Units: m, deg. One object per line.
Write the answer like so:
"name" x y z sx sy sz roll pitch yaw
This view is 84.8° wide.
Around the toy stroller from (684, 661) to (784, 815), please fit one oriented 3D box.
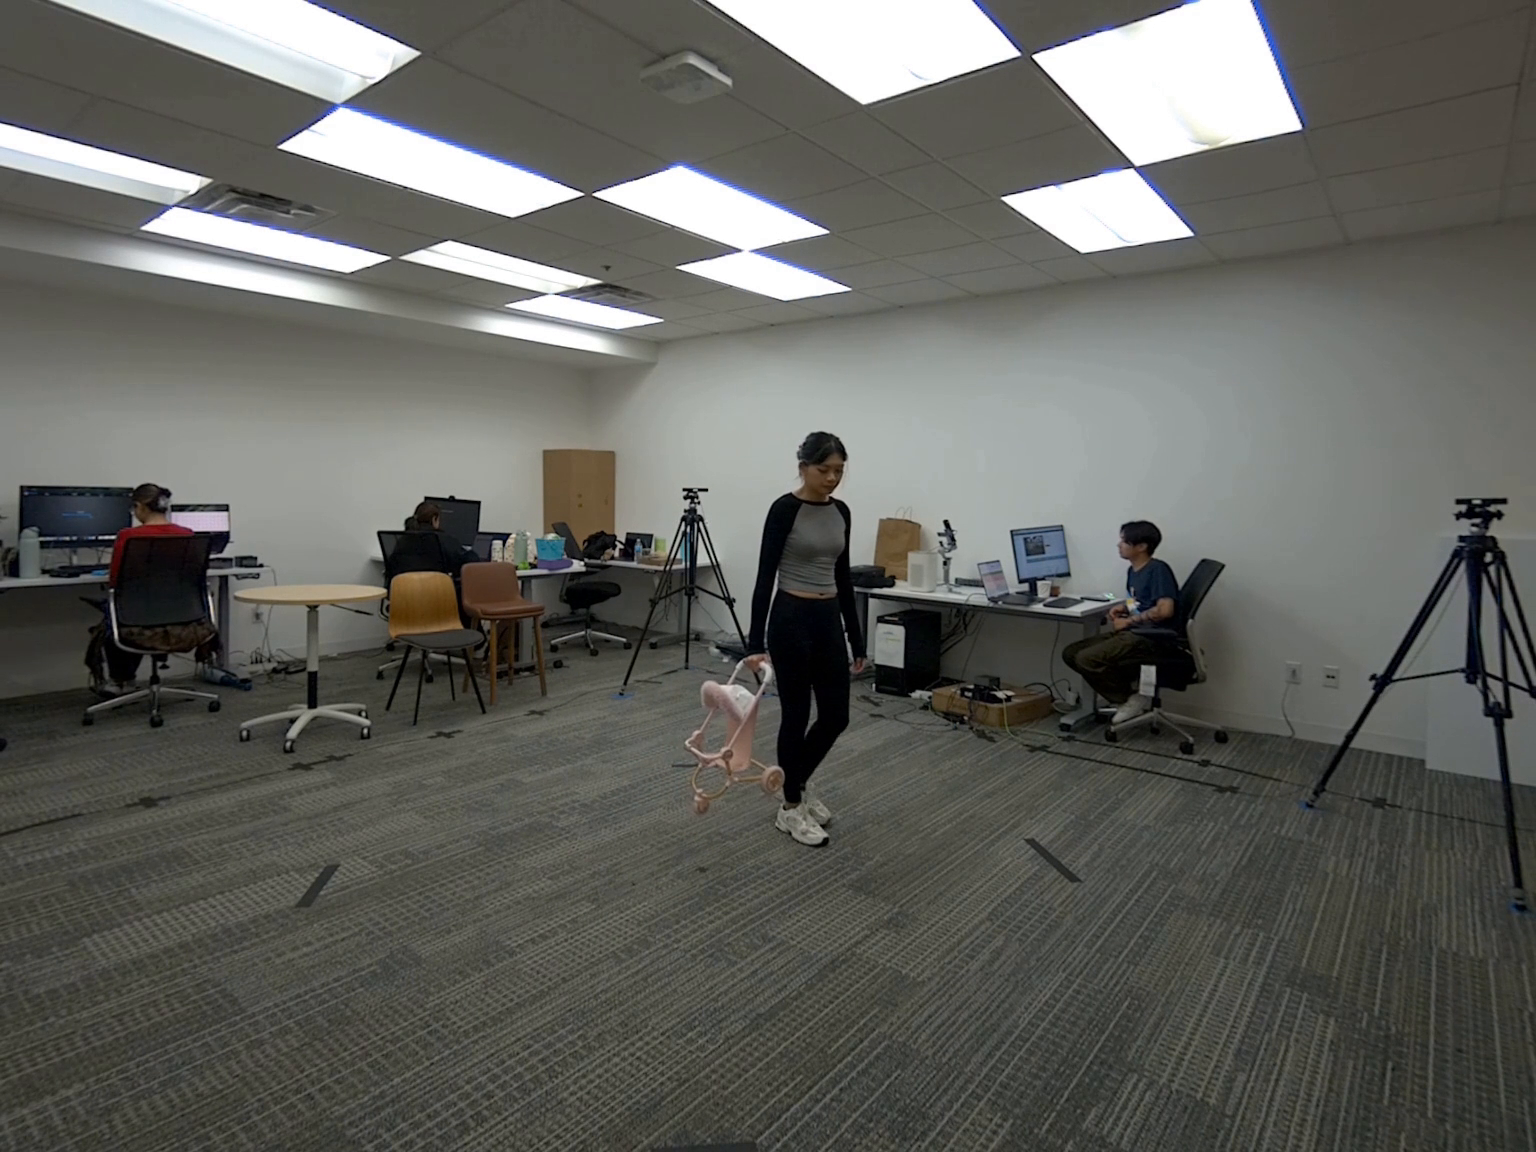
"toy stroller" -0.166 0.611 3.205 0.333 0.528 0.291 -9 14 -30
